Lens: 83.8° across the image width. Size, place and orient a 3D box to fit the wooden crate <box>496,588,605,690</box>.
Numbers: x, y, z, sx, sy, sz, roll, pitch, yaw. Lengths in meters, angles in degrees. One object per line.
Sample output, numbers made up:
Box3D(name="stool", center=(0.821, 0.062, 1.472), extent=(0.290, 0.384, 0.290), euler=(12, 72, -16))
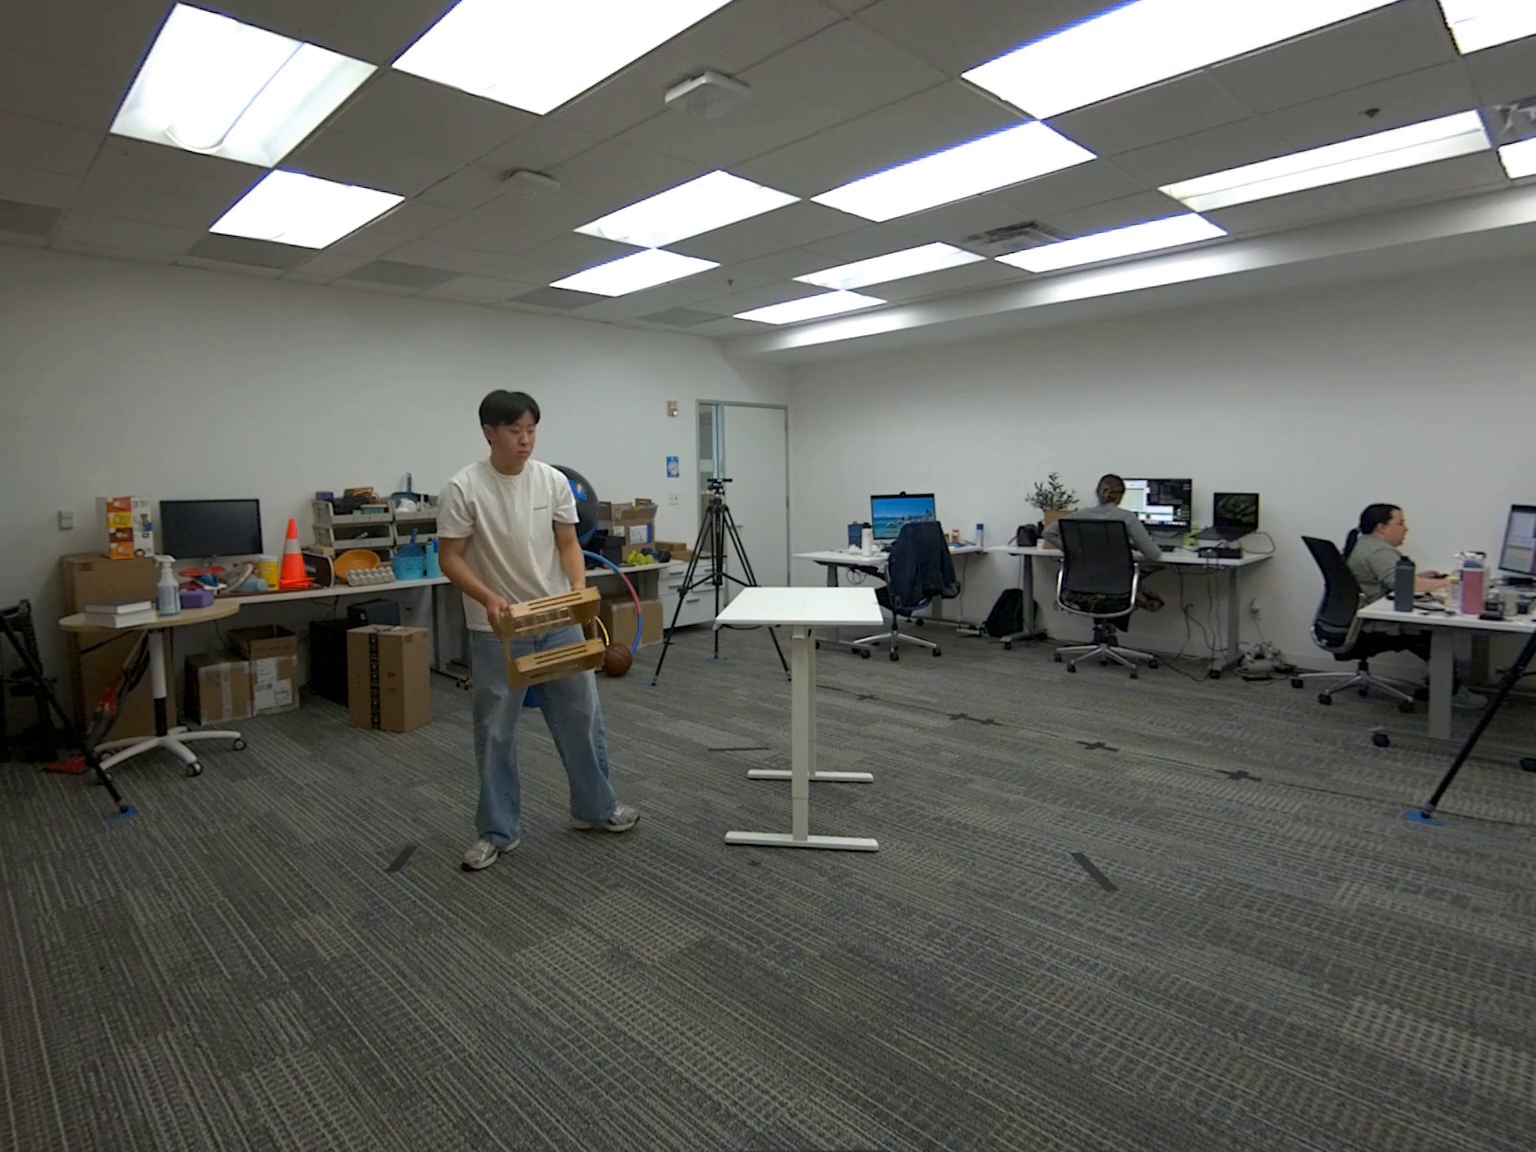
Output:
Box3D(name="wooden crate", center=(-0.735, 0.224, 2.922), extent=(0.319, 0.275, 0.305), euler=(-12, -5, -26))
